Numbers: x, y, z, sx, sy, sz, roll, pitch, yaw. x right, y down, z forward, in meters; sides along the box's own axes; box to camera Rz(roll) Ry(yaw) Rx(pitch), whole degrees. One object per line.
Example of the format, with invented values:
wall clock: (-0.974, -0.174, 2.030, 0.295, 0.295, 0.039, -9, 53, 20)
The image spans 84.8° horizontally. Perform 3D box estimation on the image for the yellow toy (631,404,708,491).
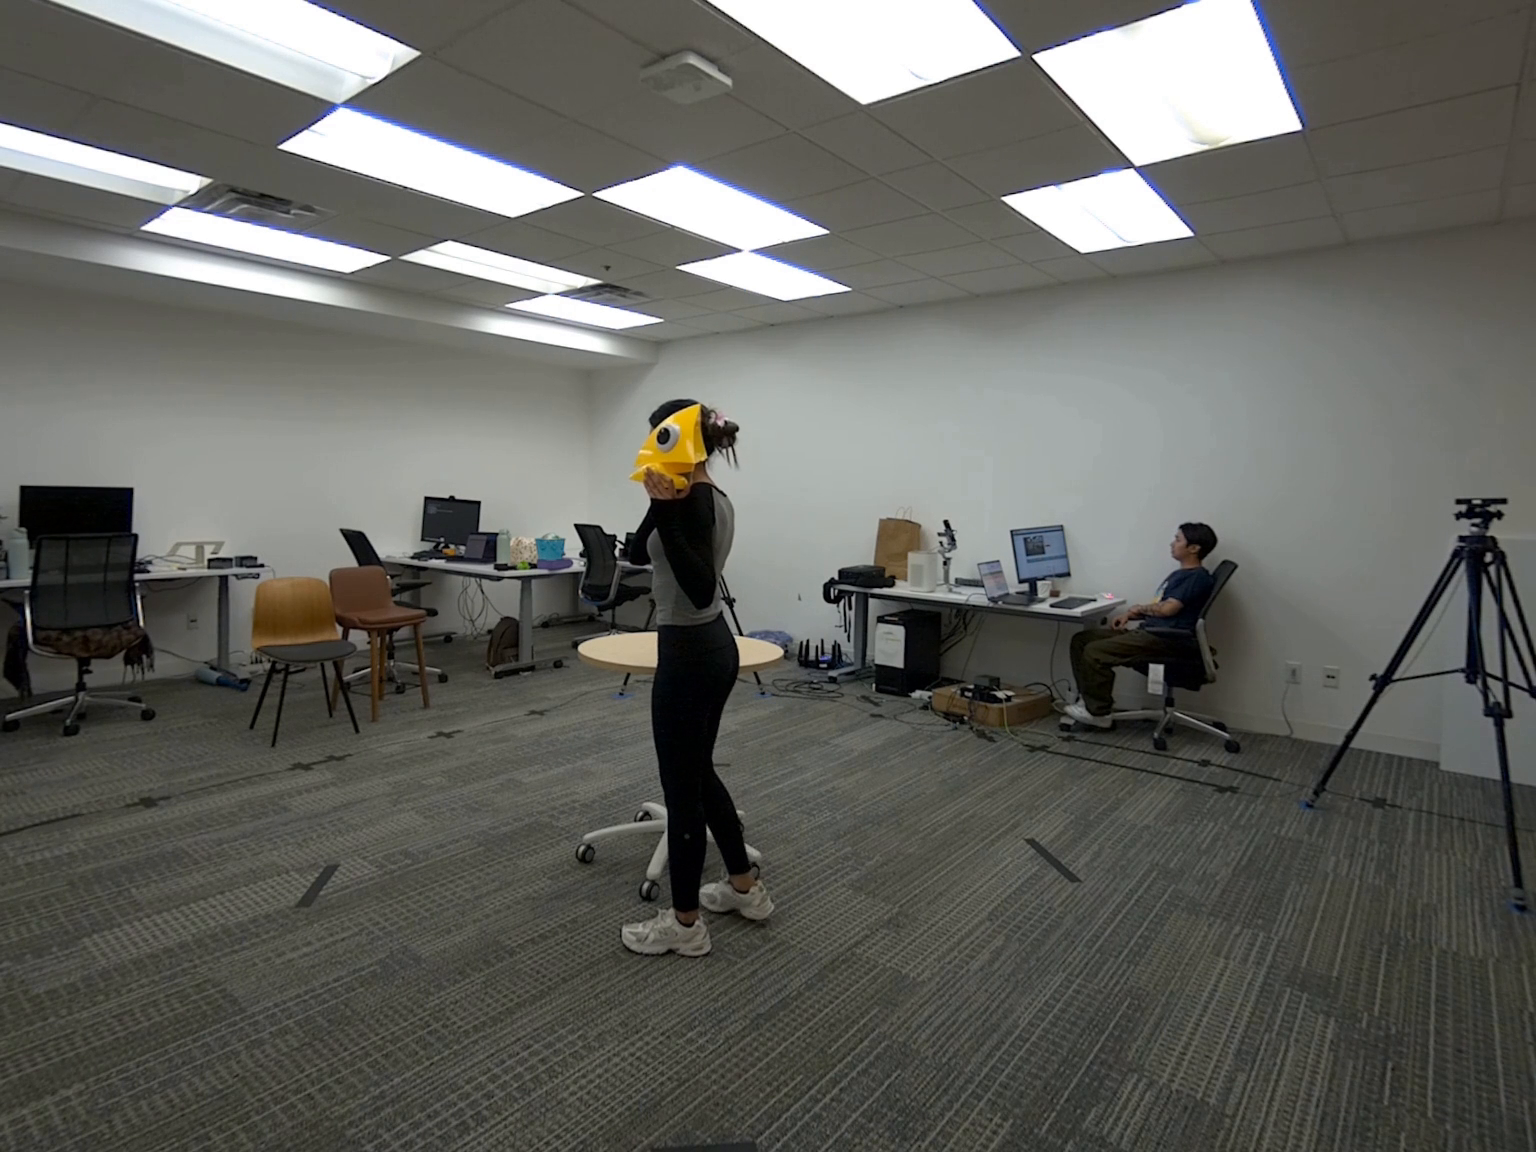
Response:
yellow toy: (-0.277, -0.379, 2.360, 0.195, 0.229, 0.205, 13, 12, 6)
